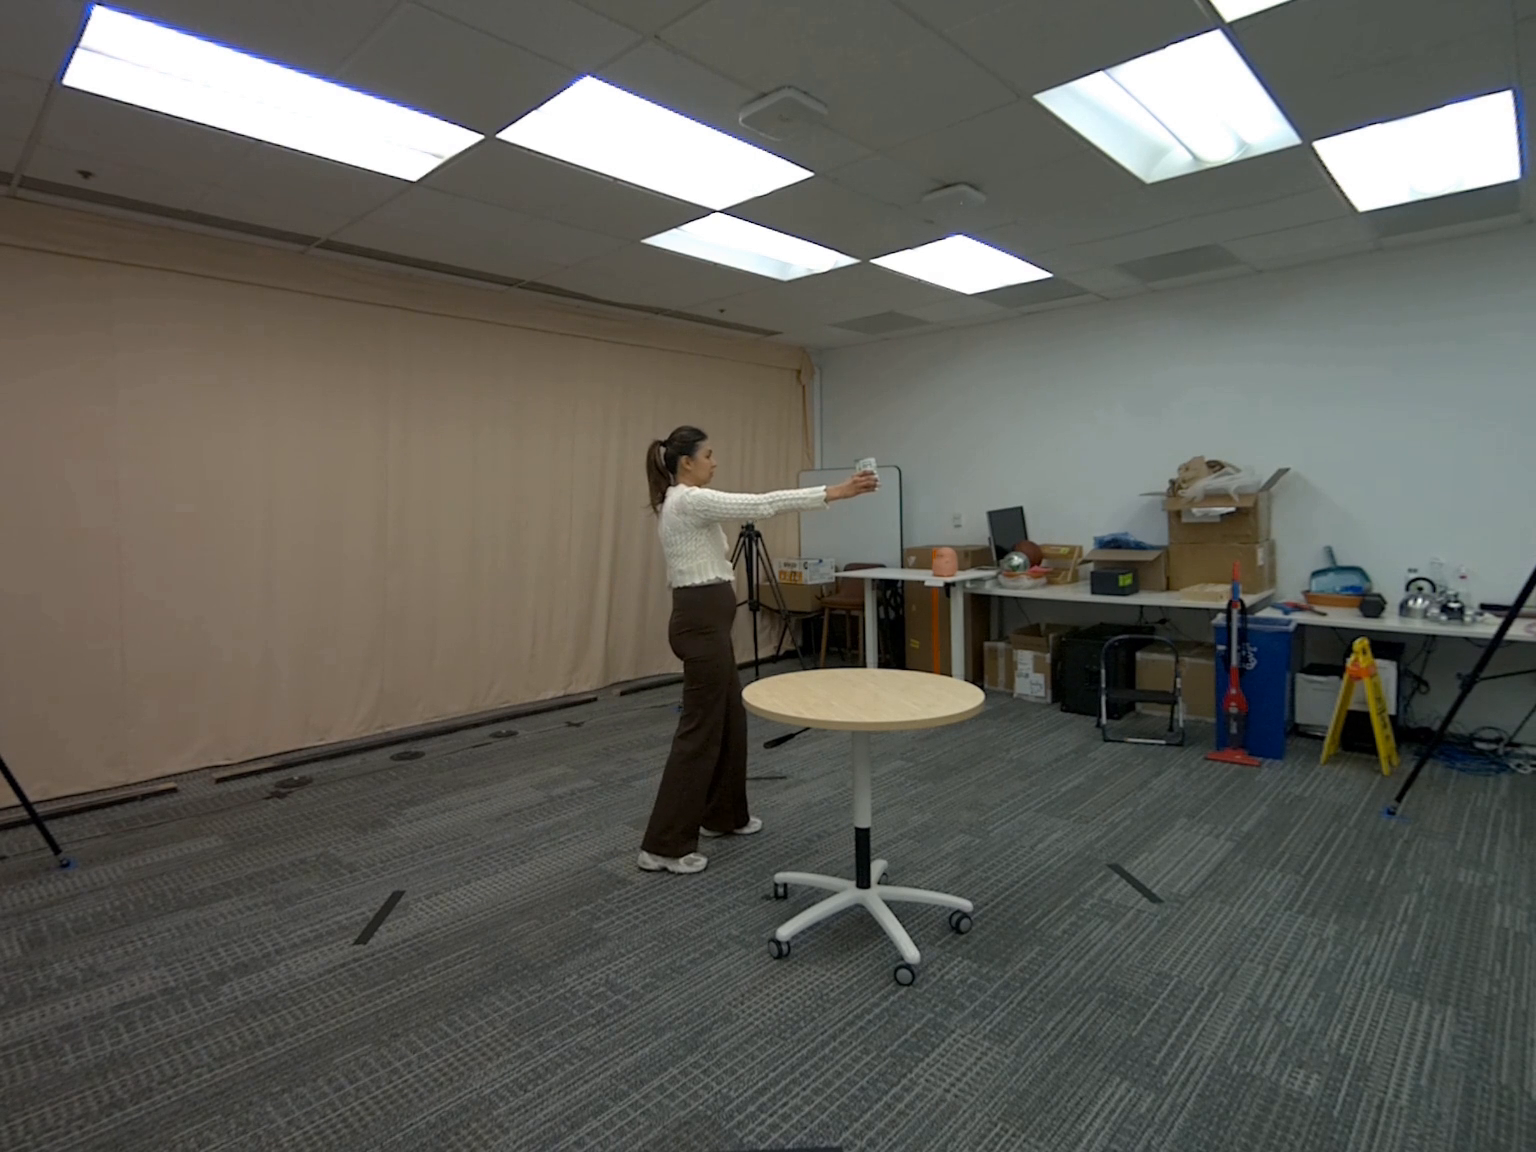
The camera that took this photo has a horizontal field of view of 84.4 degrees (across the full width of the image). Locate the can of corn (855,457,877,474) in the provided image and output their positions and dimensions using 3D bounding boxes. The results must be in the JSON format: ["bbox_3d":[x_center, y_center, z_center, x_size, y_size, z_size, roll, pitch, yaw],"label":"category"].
[{"bbox_3d":[0.359,-0.372,3.051,0.074,0.111,0.074,-9,1,-2],"label":"can of corn"}]
